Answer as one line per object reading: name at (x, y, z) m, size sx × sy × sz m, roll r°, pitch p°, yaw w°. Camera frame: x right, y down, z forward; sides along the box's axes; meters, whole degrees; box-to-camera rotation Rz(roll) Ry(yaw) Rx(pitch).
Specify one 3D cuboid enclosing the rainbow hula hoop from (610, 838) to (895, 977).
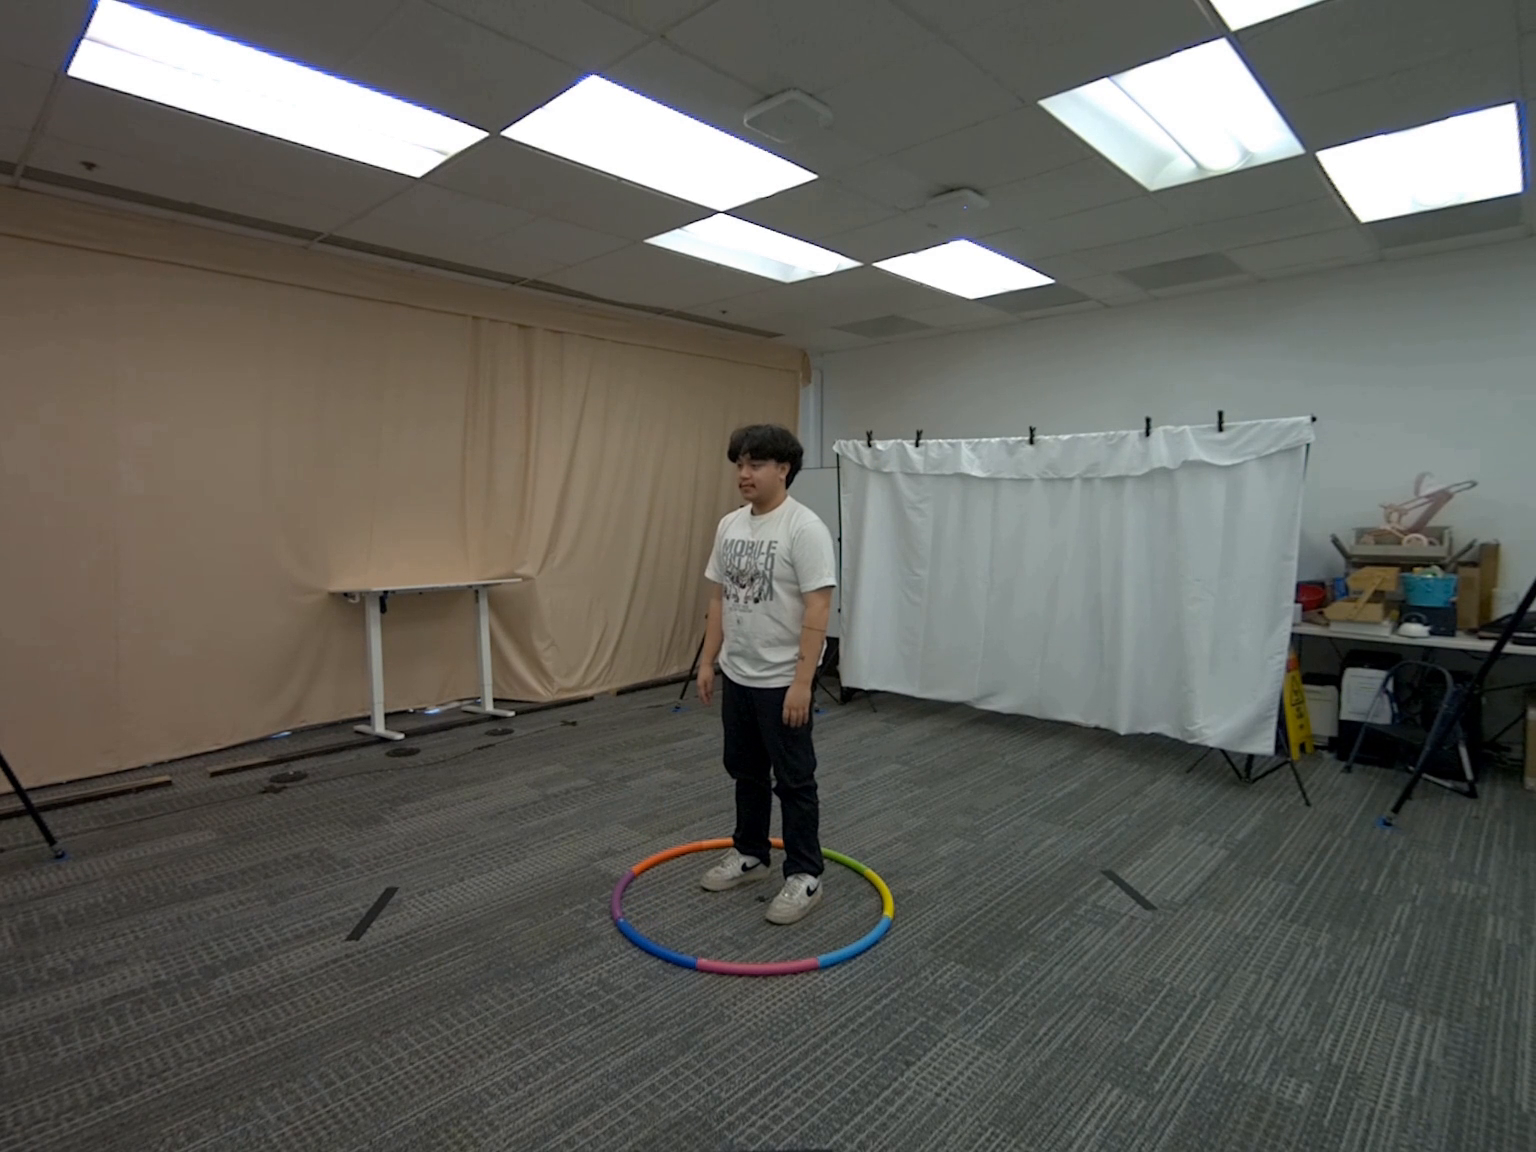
rainbow hula hoop at (-0.057, 1.119, 2.975) m, size 0.985 × 0.051 × 0.989 m, roll 0°, pitch 5°, yaw -2°
